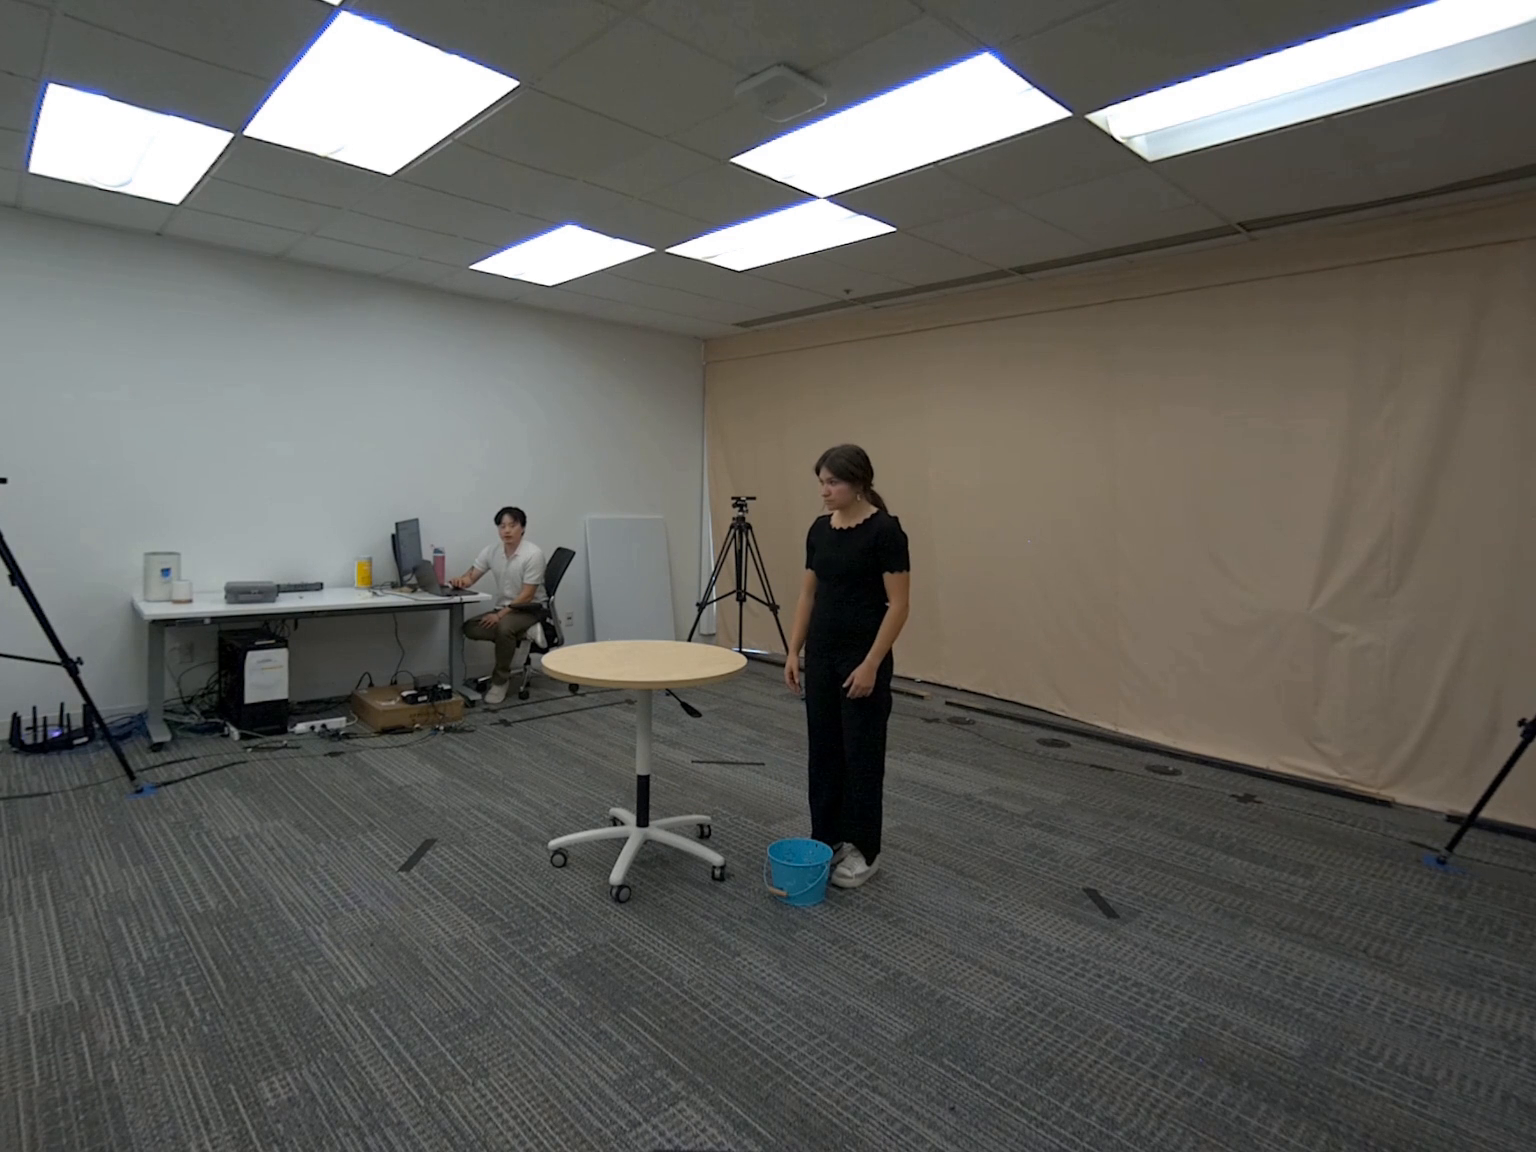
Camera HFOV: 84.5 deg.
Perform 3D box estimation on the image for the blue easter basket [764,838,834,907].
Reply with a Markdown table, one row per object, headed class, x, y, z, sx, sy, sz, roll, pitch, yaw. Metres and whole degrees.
| class | x | y | z | sx | sy | sz | roll | pitch | yaw |
| --- | --- | --- | --- | --- | --- | --- | --- | --- | --- |
| blue easter basket | 0.100 | 1.043 | 2.969 | 0.243 | 0.155 | 0.244 | 1 | 4 | -1 |
